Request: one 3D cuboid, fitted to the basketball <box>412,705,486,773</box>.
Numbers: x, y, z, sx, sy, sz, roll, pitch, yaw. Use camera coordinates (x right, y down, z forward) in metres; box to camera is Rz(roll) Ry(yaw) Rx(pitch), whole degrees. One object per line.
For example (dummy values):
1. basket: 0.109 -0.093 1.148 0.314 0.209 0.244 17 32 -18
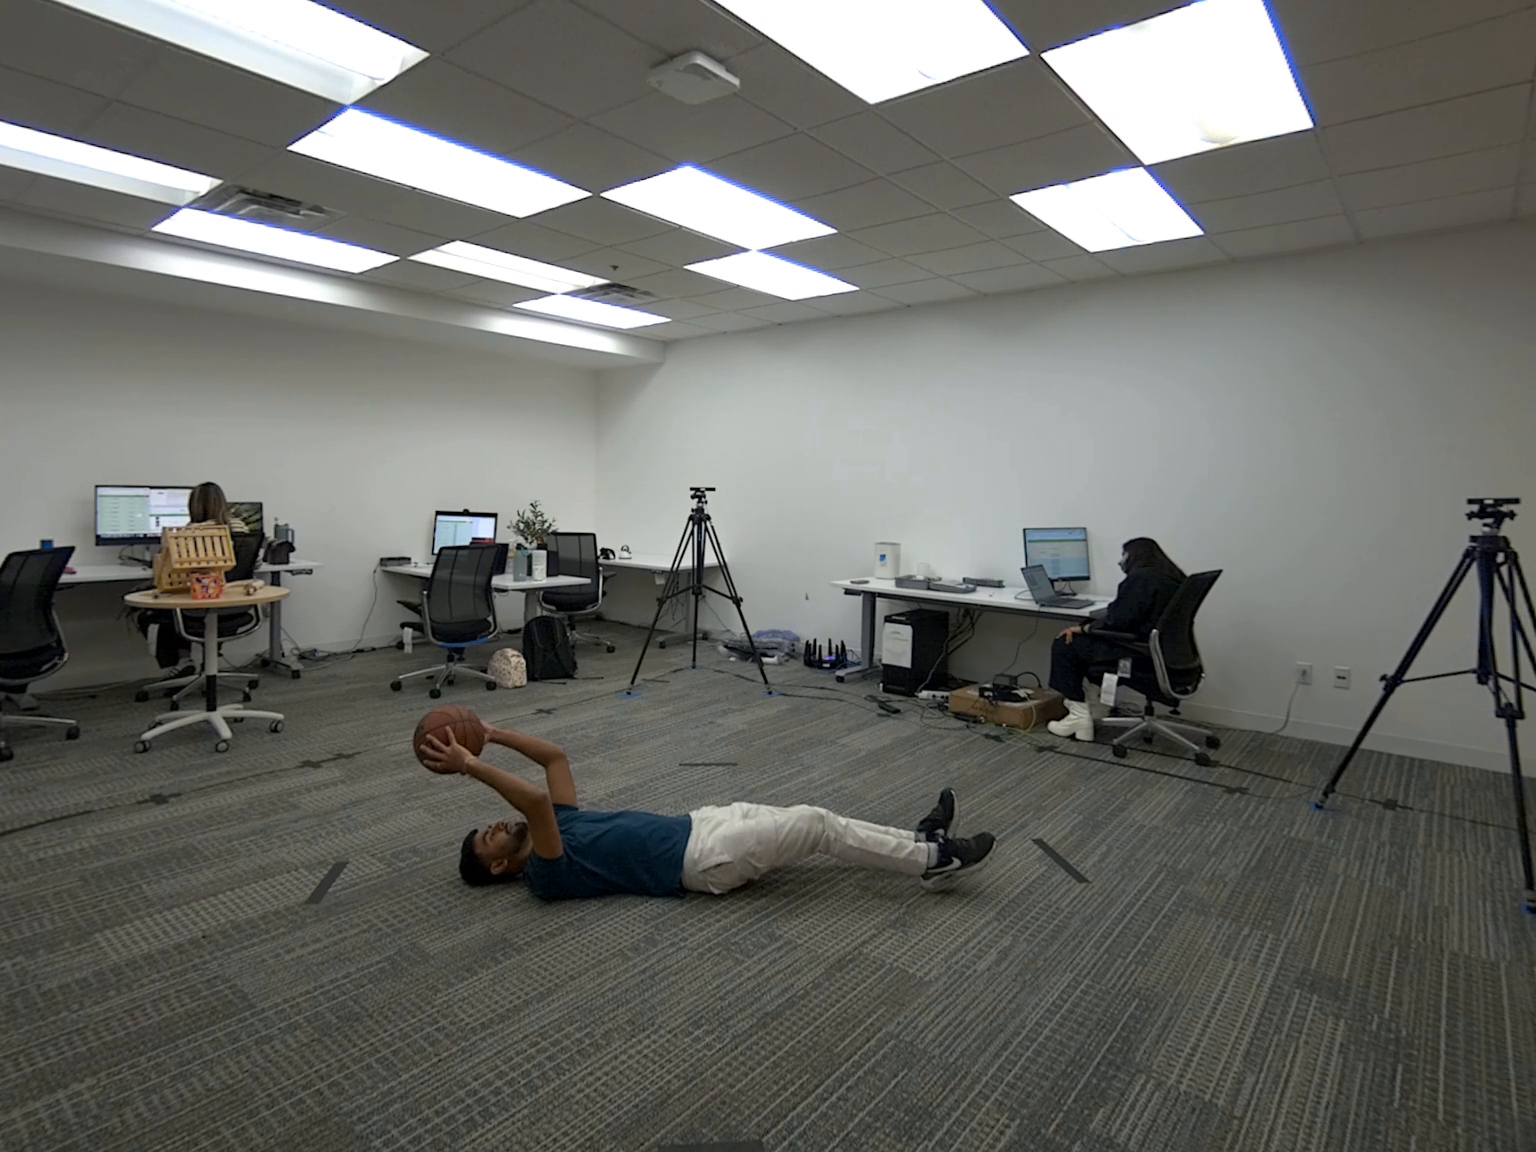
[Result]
1. basketball: -1.127 0.566 2.974 0.235 0.235 0.237 1 4 -2
